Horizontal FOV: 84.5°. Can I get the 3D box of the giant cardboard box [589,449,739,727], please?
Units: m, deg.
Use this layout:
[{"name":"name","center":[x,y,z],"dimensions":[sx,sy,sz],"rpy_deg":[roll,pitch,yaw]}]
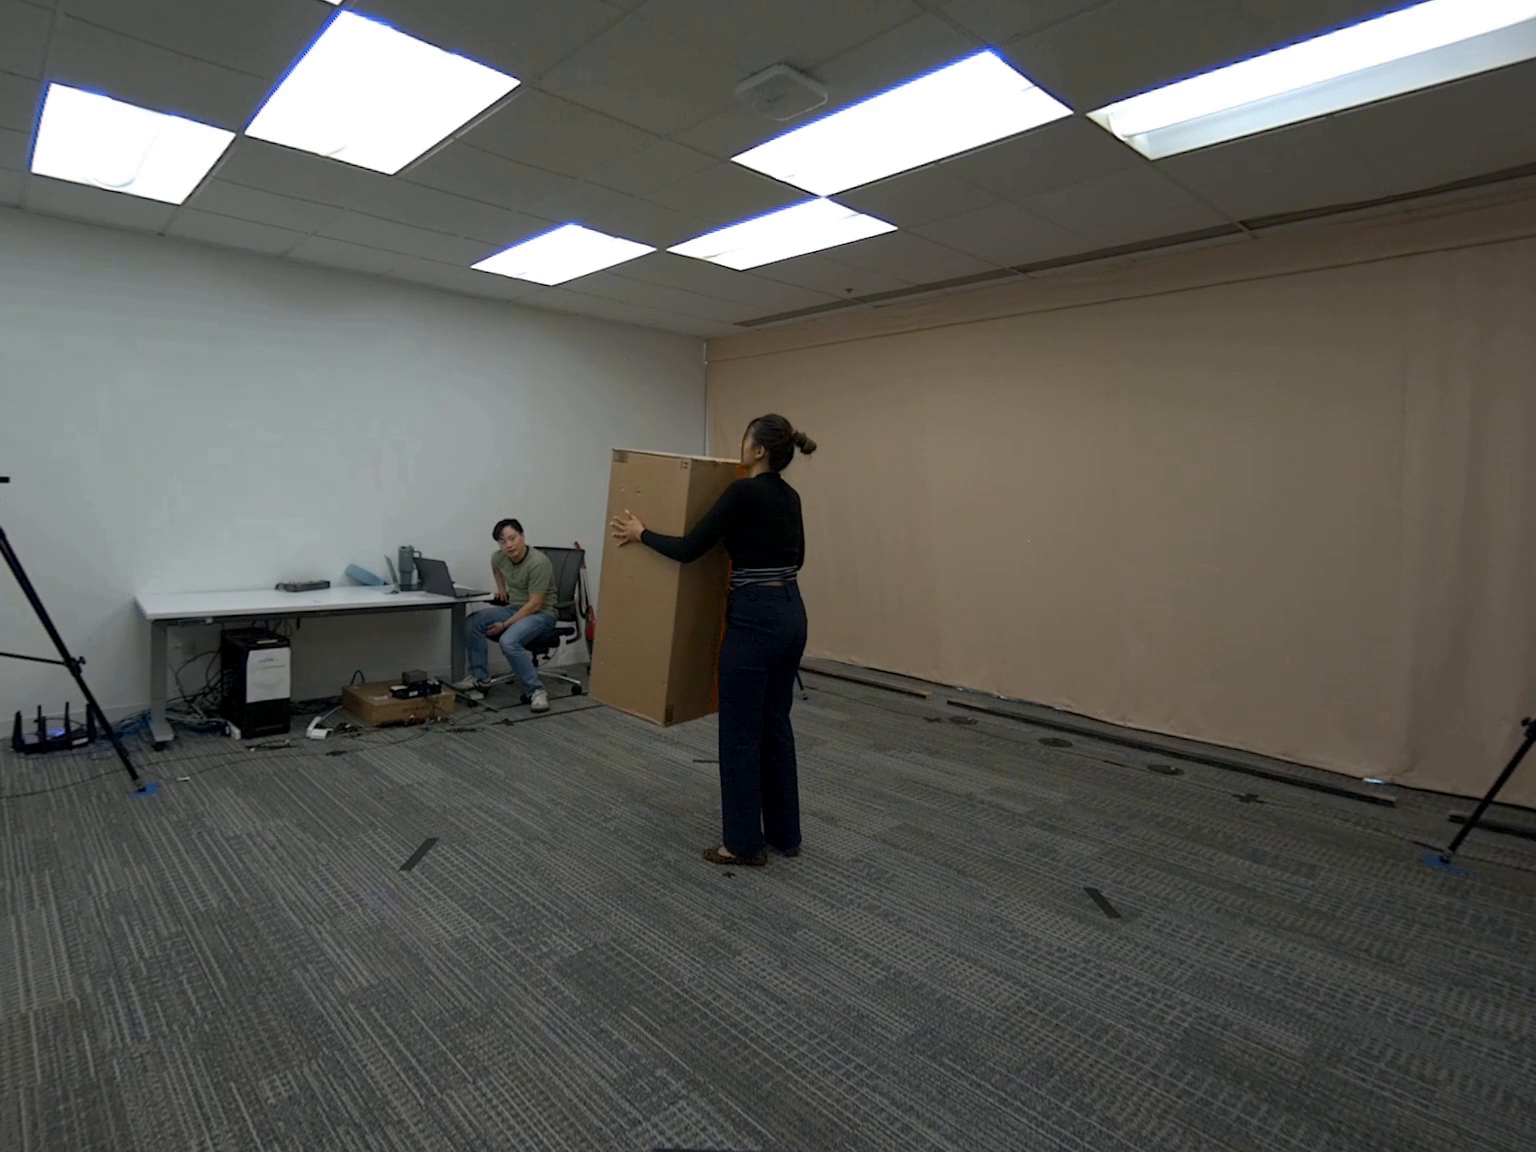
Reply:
[{"name":"giant cardboard box","center":[-0.345,0.025,3.471],"dimensions":[0.437,1.022,0.565],"rpy_deg":[11,8,36]}]
